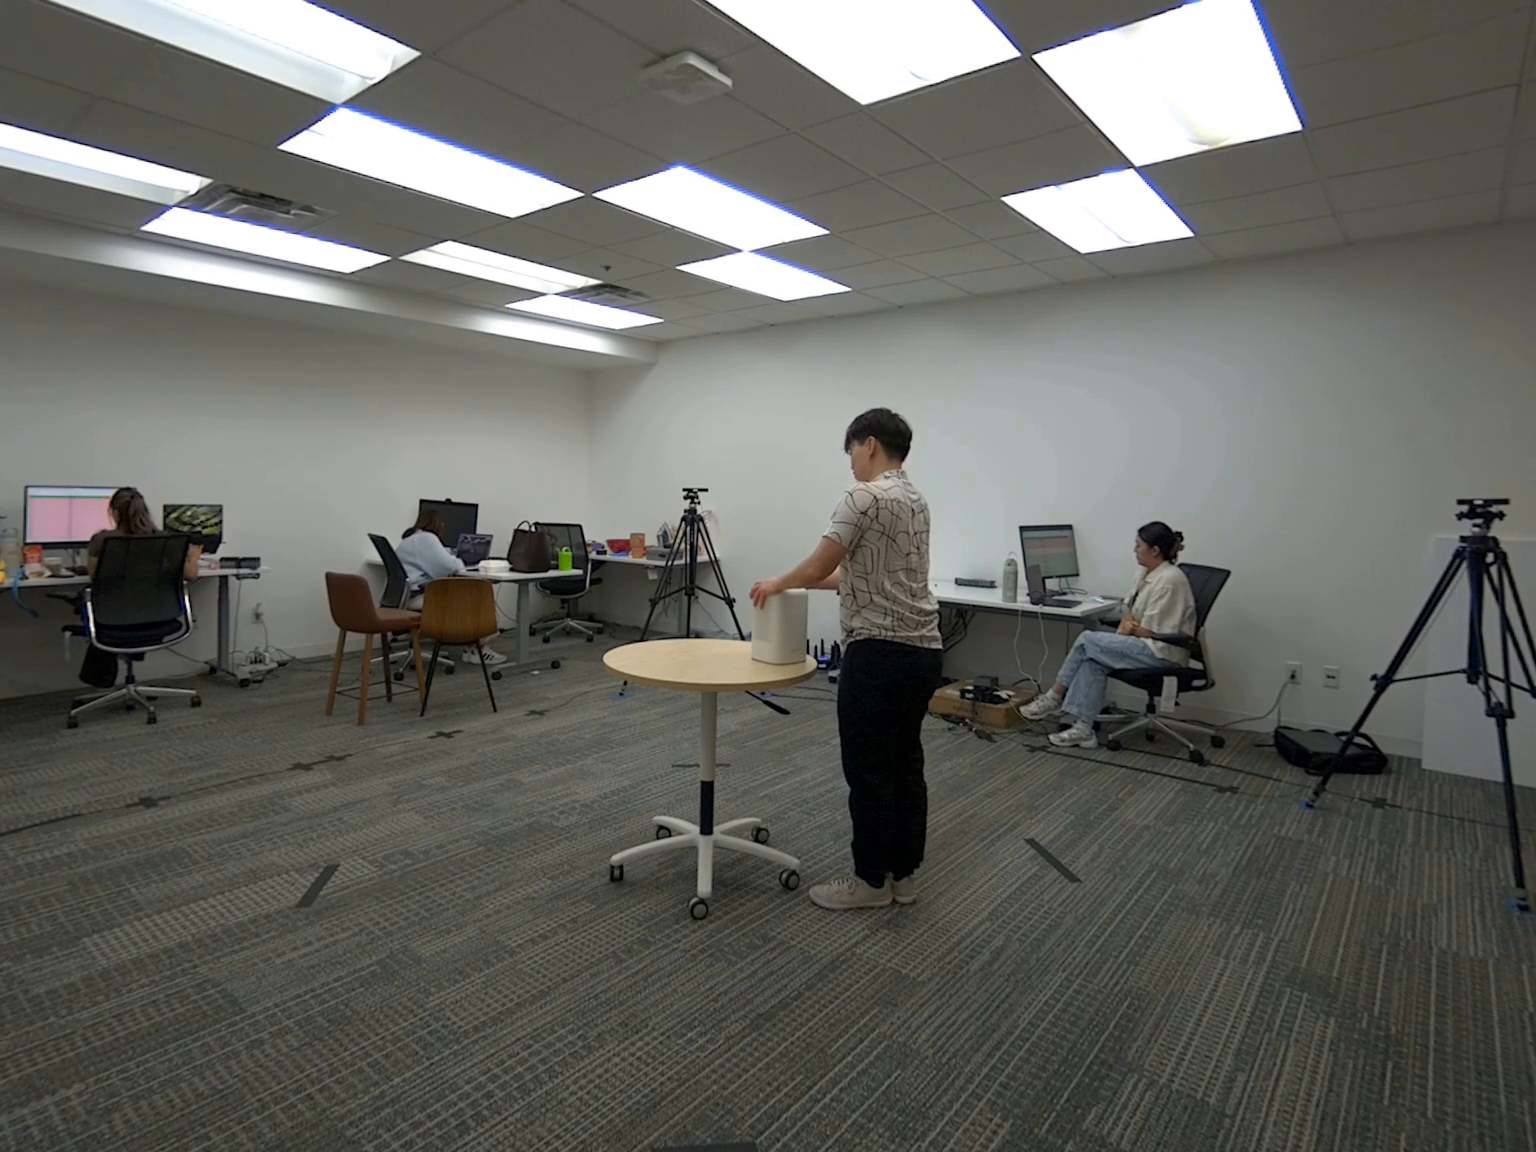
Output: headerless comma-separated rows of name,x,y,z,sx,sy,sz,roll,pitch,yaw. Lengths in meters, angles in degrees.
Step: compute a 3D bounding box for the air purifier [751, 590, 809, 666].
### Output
air purifier,0.034,0.166,3.072,0.166,0.264,0.177,1,5,-37
